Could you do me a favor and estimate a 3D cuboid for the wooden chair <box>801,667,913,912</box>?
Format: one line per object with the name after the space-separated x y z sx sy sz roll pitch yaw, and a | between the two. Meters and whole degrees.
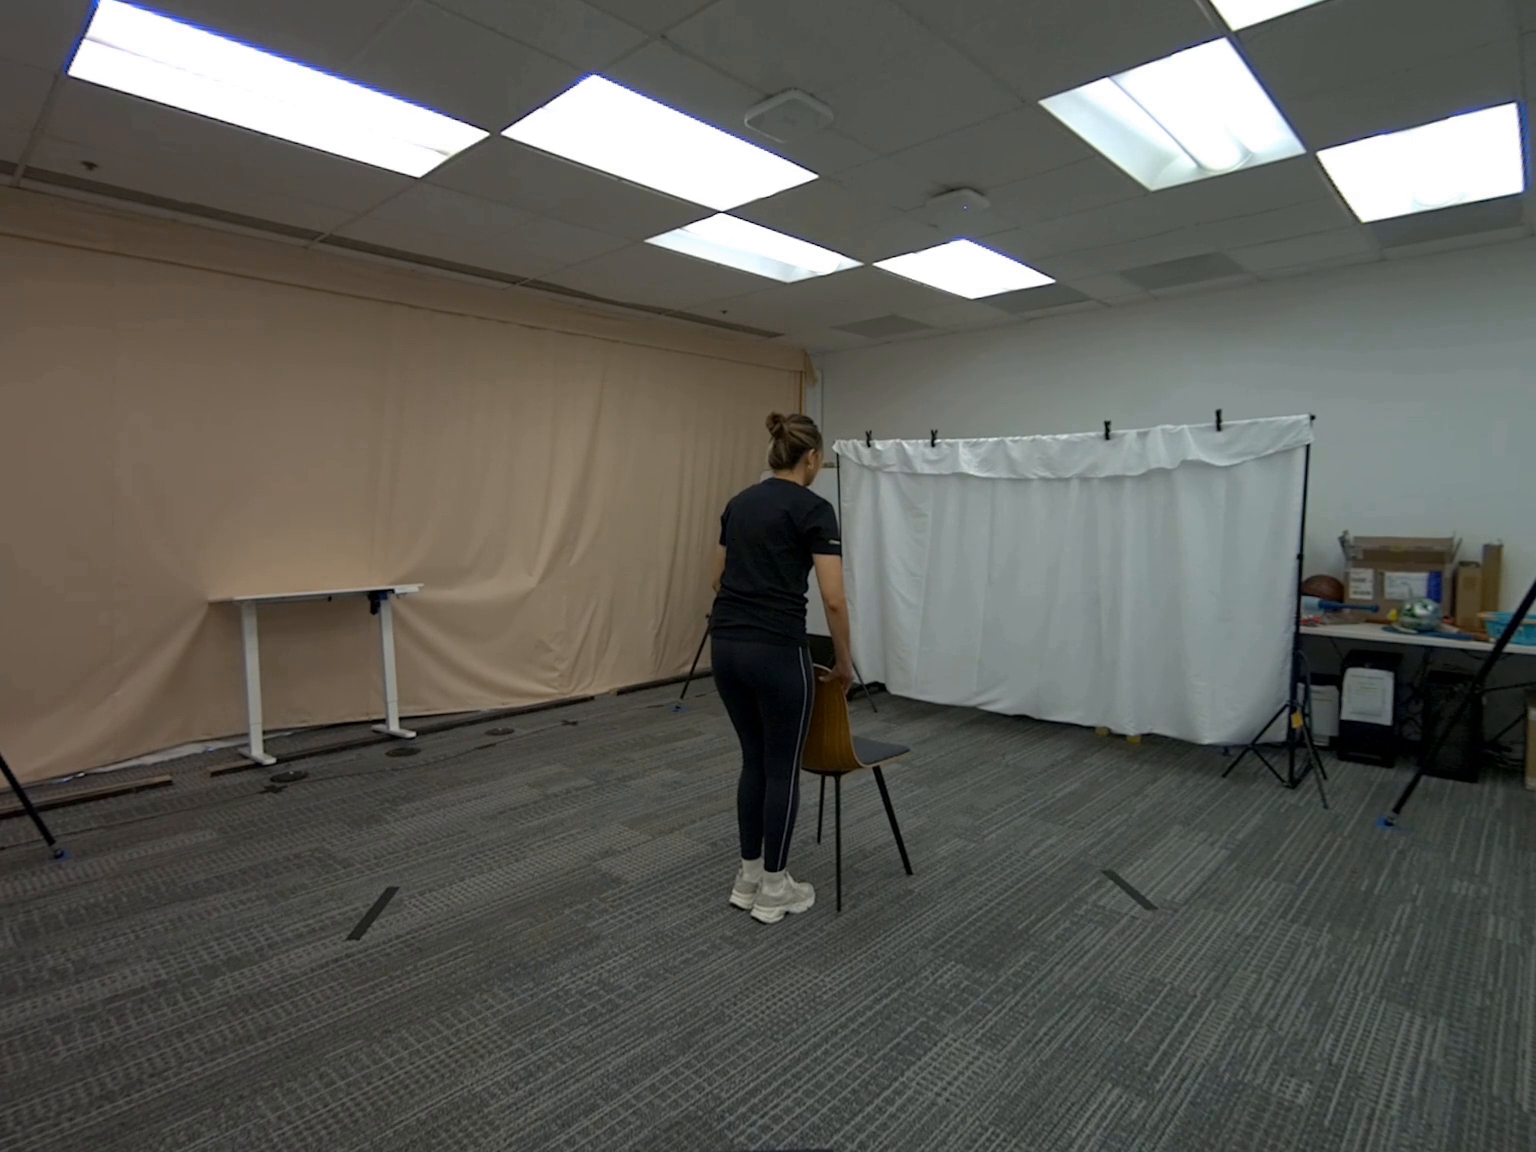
0.244 0.694 3.162 0.494 0.874 0.508 3 7 44 | wooden chair
